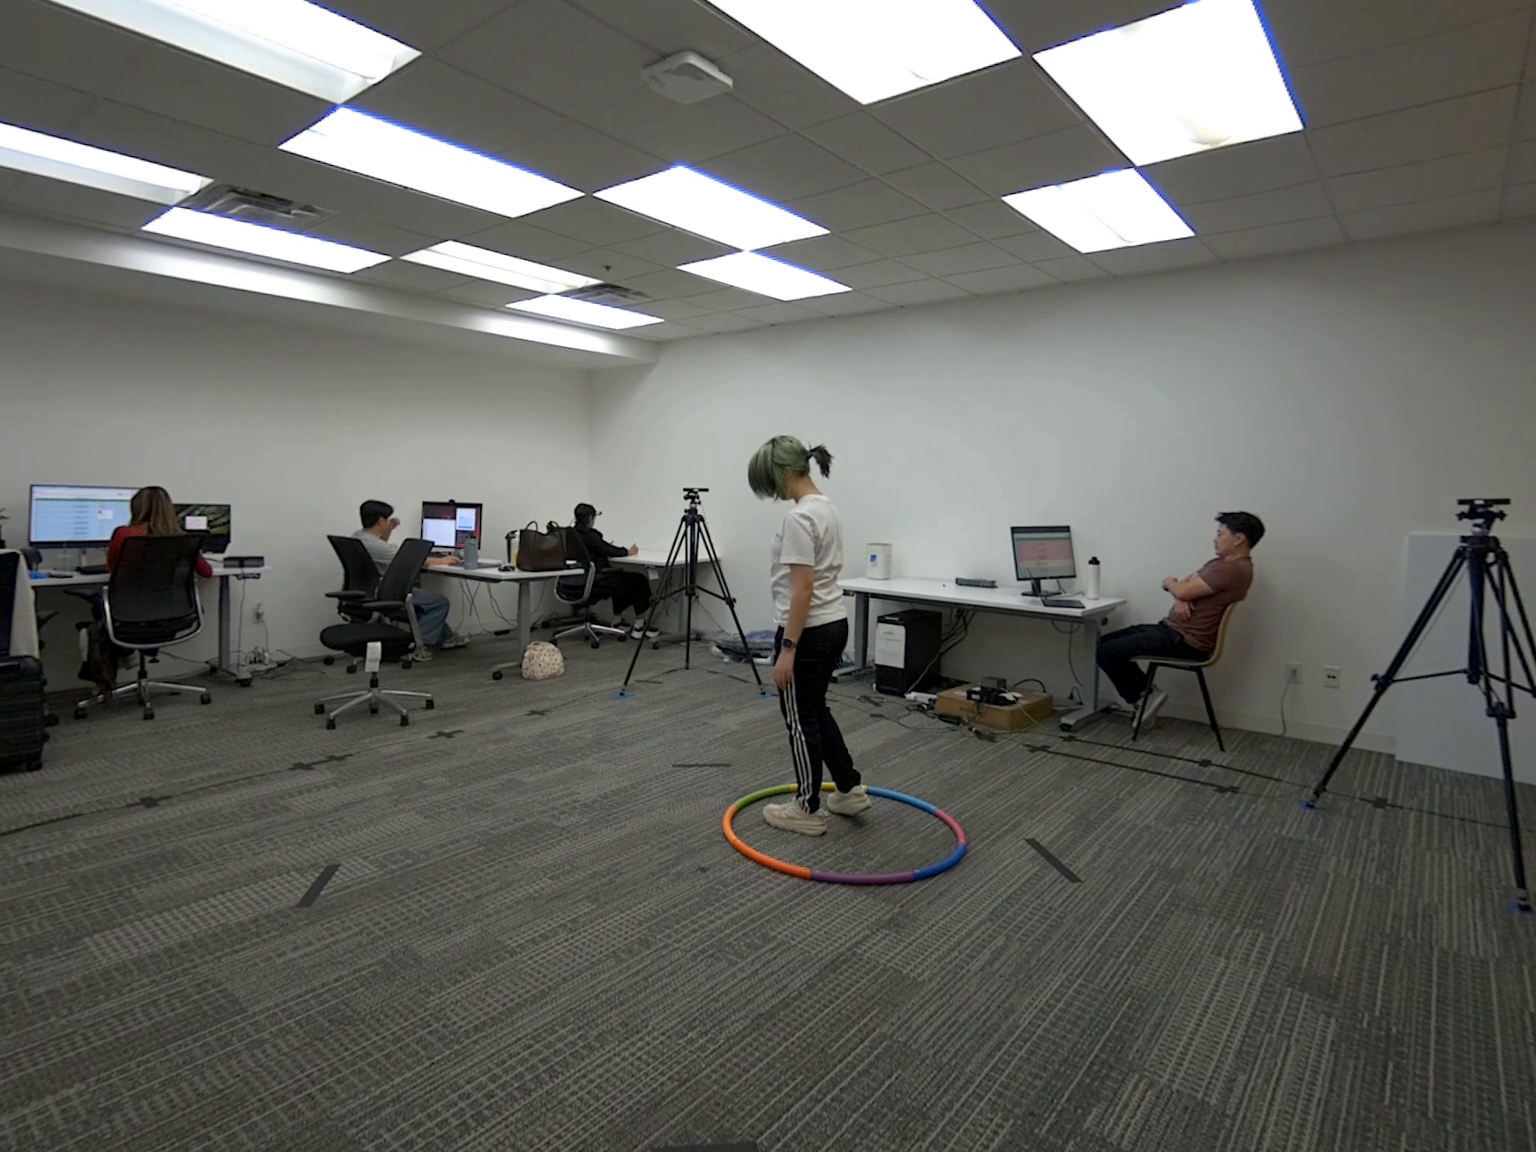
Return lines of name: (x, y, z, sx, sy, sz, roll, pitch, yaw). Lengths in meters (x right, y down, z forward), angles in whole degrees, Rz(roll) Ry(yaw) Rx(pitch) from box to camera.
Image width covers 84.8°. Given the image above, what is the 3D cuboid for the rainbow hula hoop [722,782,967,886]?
rainbow hula hoop: (0.296, 1.017, 3.490, 0.984, 0.051, 0.991, 1, 6, -2)
